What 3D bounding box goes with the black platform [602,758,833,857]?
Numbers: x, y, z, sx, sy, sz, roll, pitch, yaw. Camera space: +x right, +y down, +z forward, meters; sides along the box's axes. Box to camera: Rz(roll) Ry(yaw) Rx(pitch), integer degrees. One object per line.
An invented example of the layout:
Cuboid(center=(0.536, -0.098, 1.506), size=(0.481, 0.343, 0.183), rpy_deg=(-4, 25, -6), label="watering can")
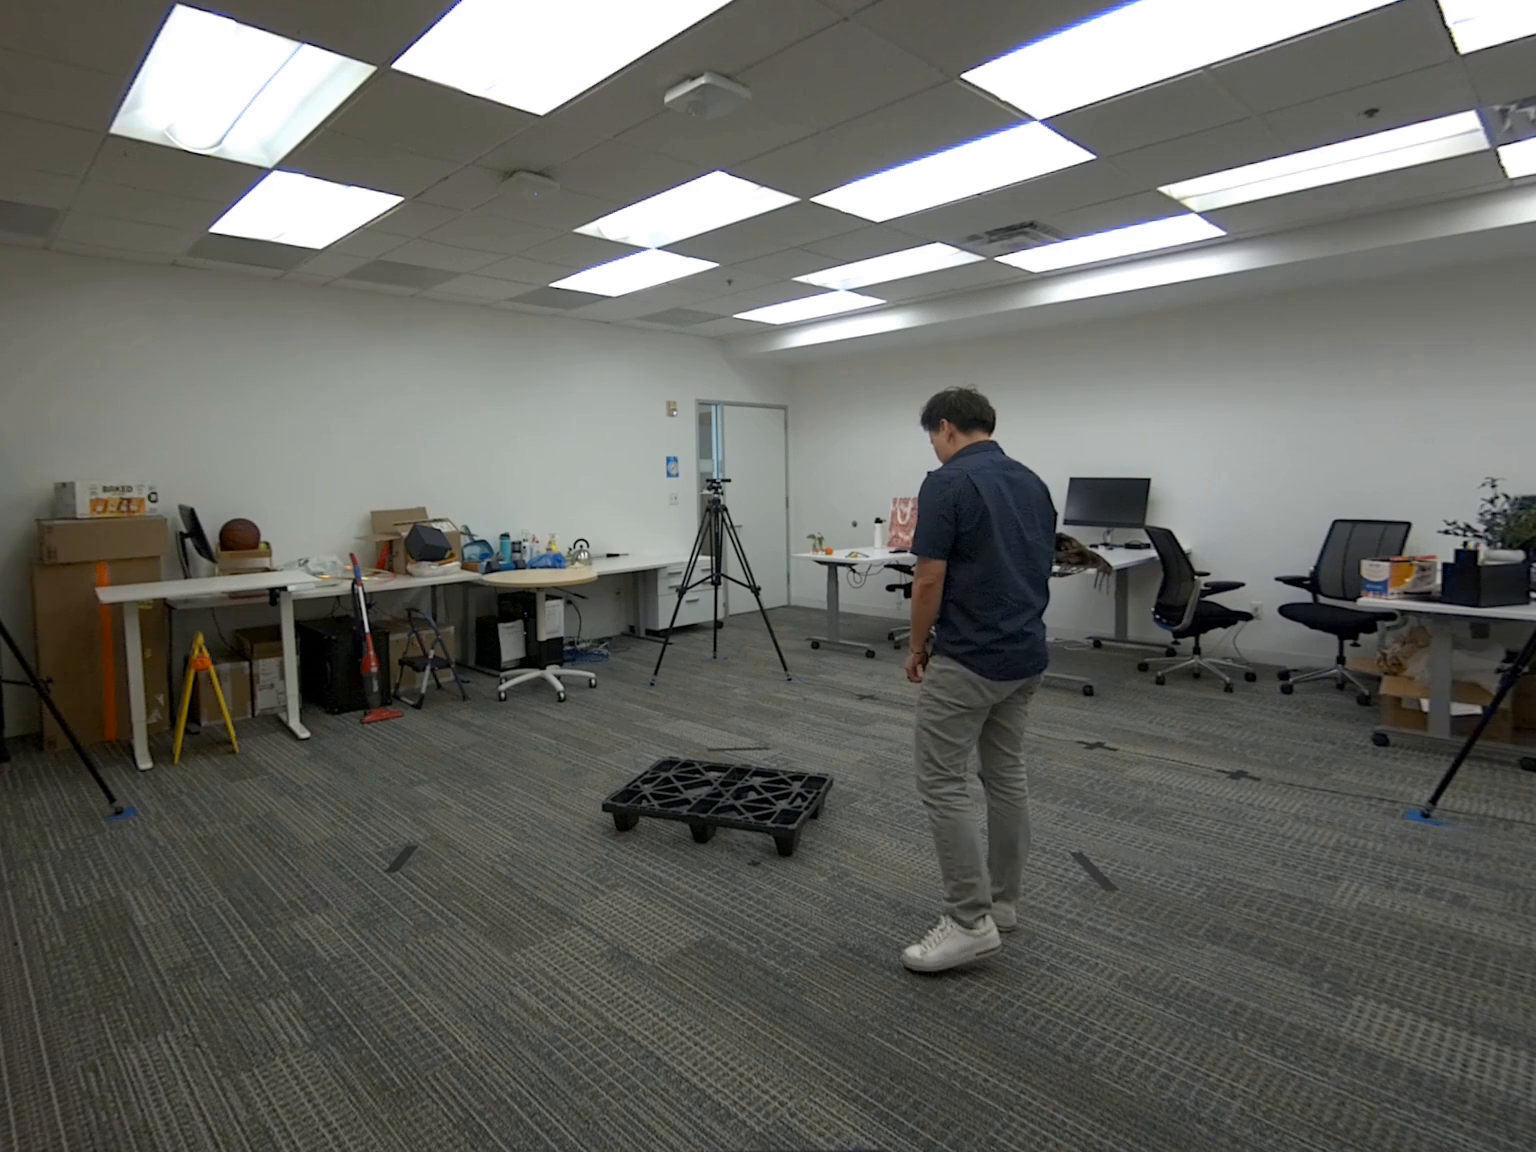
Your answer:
Cuboid(center=(-0.190, 0.933, 3.502), size=(0.821, 0.143, 0.596), rpy_deg=(2, 6, 20), label="black platform")
